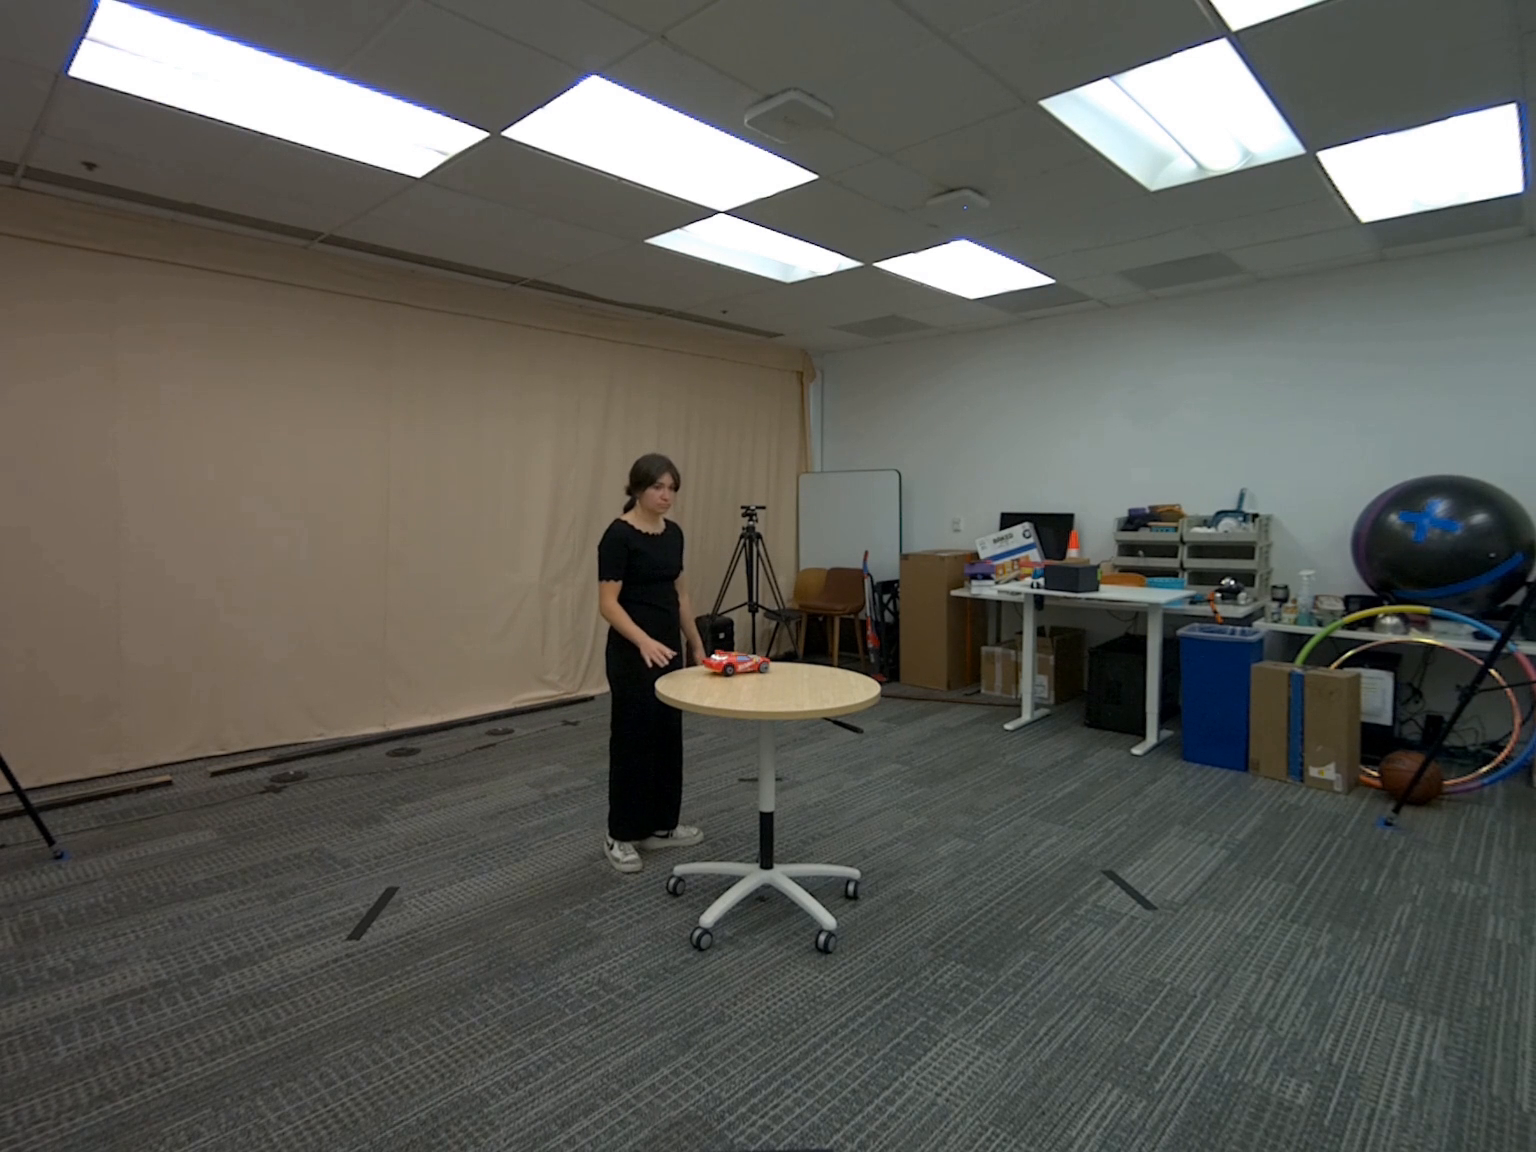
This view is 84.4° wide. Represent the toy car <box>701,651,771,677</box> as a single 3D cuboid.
[{"bbox_3d":[-0.122,0.321,3.046,0.248,0.083,0.134,11,0,-26],"label":"toy car"}]
